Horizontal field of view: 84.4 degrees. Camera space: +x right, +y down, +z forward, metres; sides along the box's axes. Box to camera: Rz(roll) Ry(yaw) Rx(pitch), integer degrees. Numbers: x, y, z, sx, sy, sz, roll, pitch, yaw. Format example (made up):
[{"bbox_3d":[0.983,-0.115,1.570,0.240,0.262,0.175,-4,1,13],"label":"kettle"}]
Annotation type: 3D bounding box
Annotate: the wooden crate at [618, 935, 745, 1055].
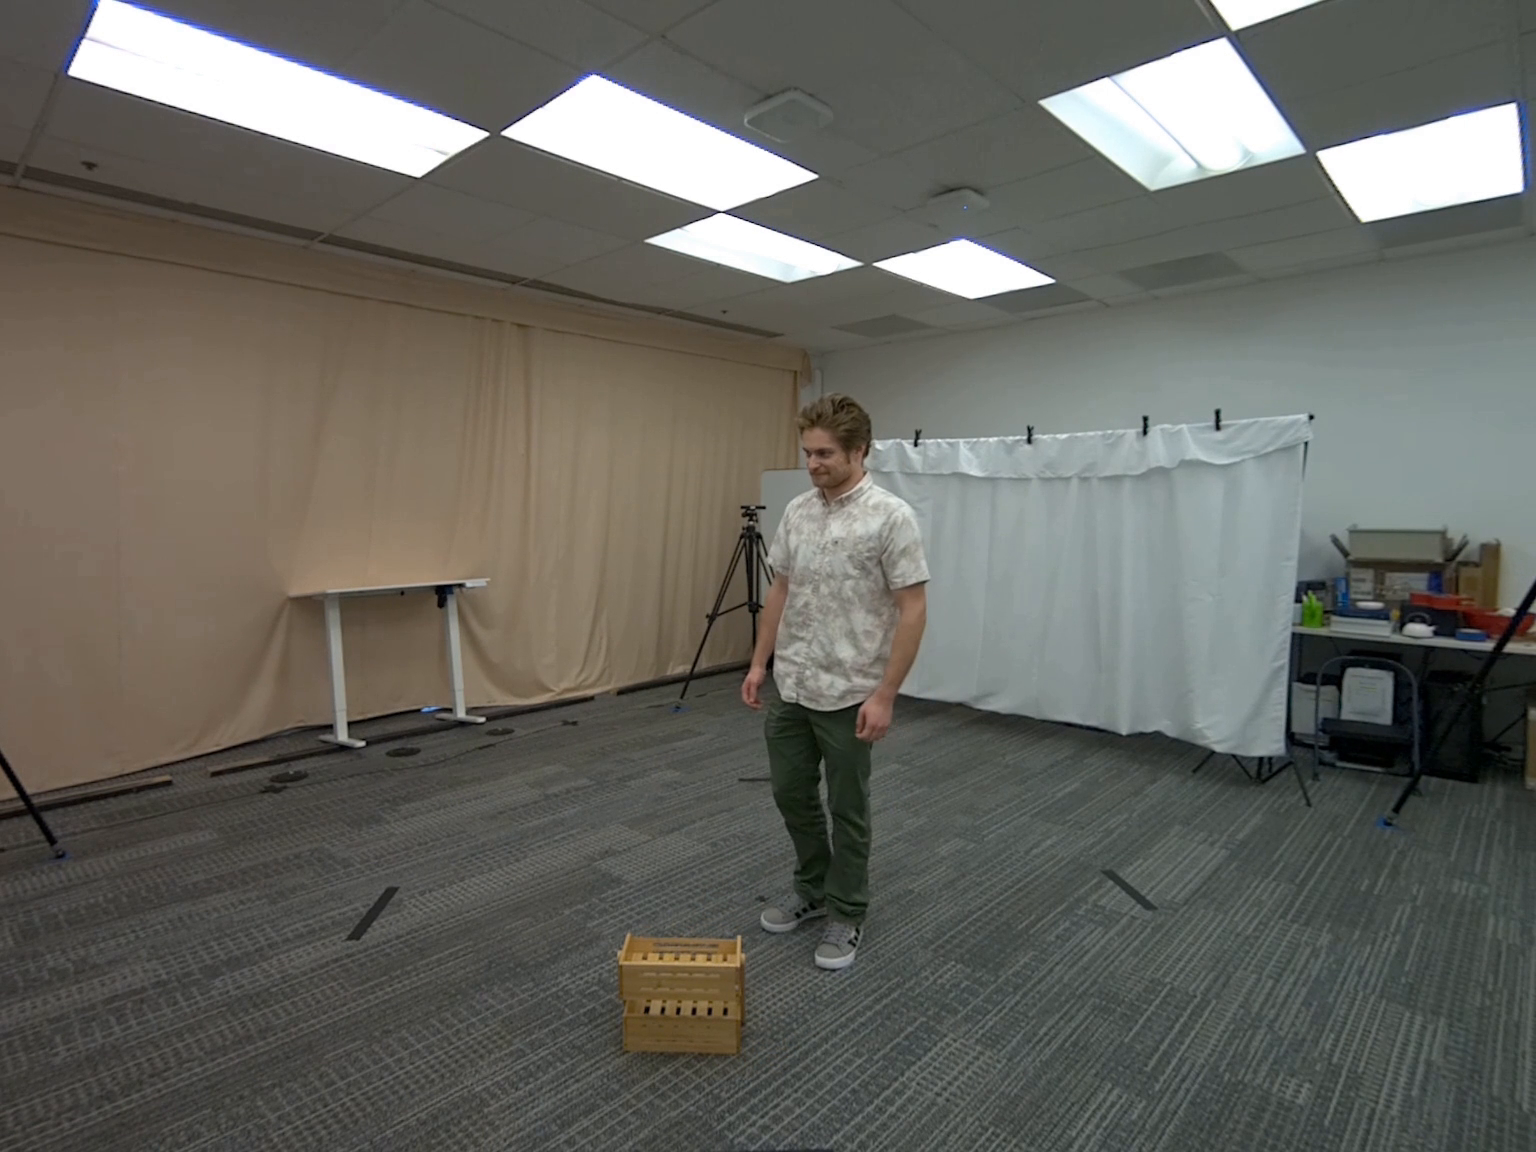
[{"bbox_3d":[-0.222,1.075,2.234,0.325,0.272,0.302,0,4,0],"label":"wooden crate"}]
